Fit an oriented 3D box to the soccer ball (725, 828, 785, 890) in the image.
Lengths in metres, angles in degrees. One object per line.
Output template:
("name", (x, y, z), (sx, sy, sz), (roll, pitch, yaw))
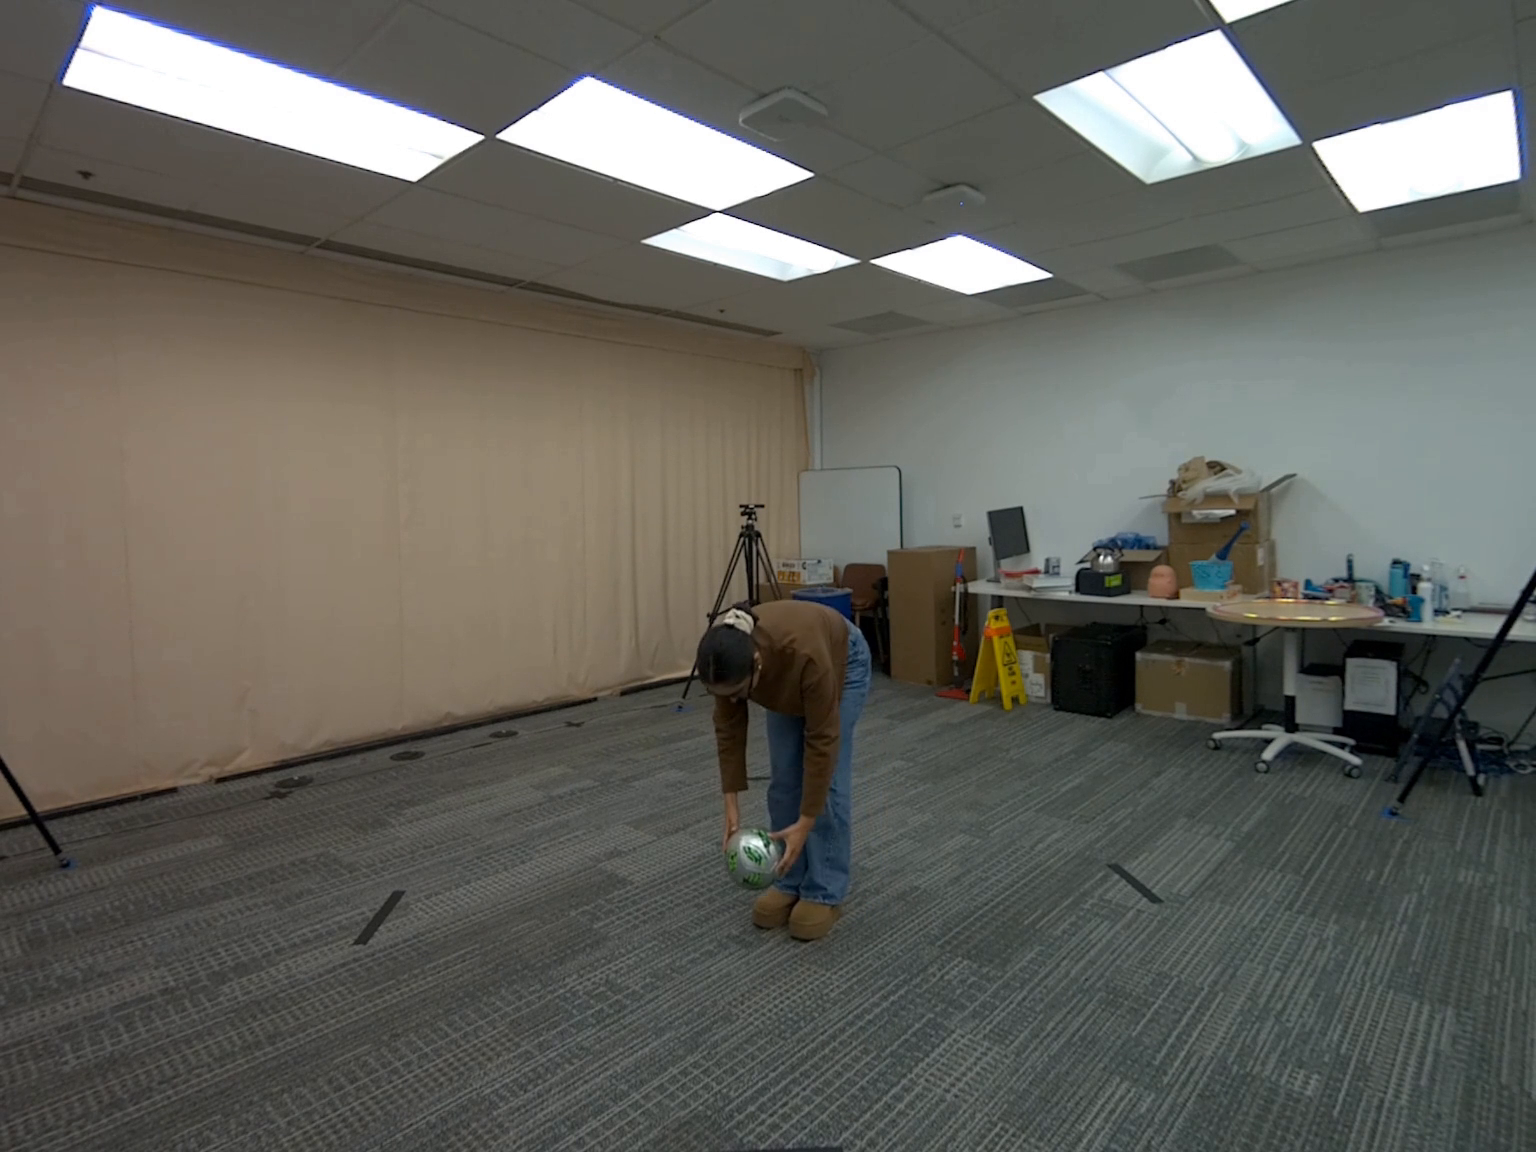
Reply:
("soccer ball", (-0.038, 0.853, 2.584), (0.187, 0.187, 0.188), (-1, 4, -2))
